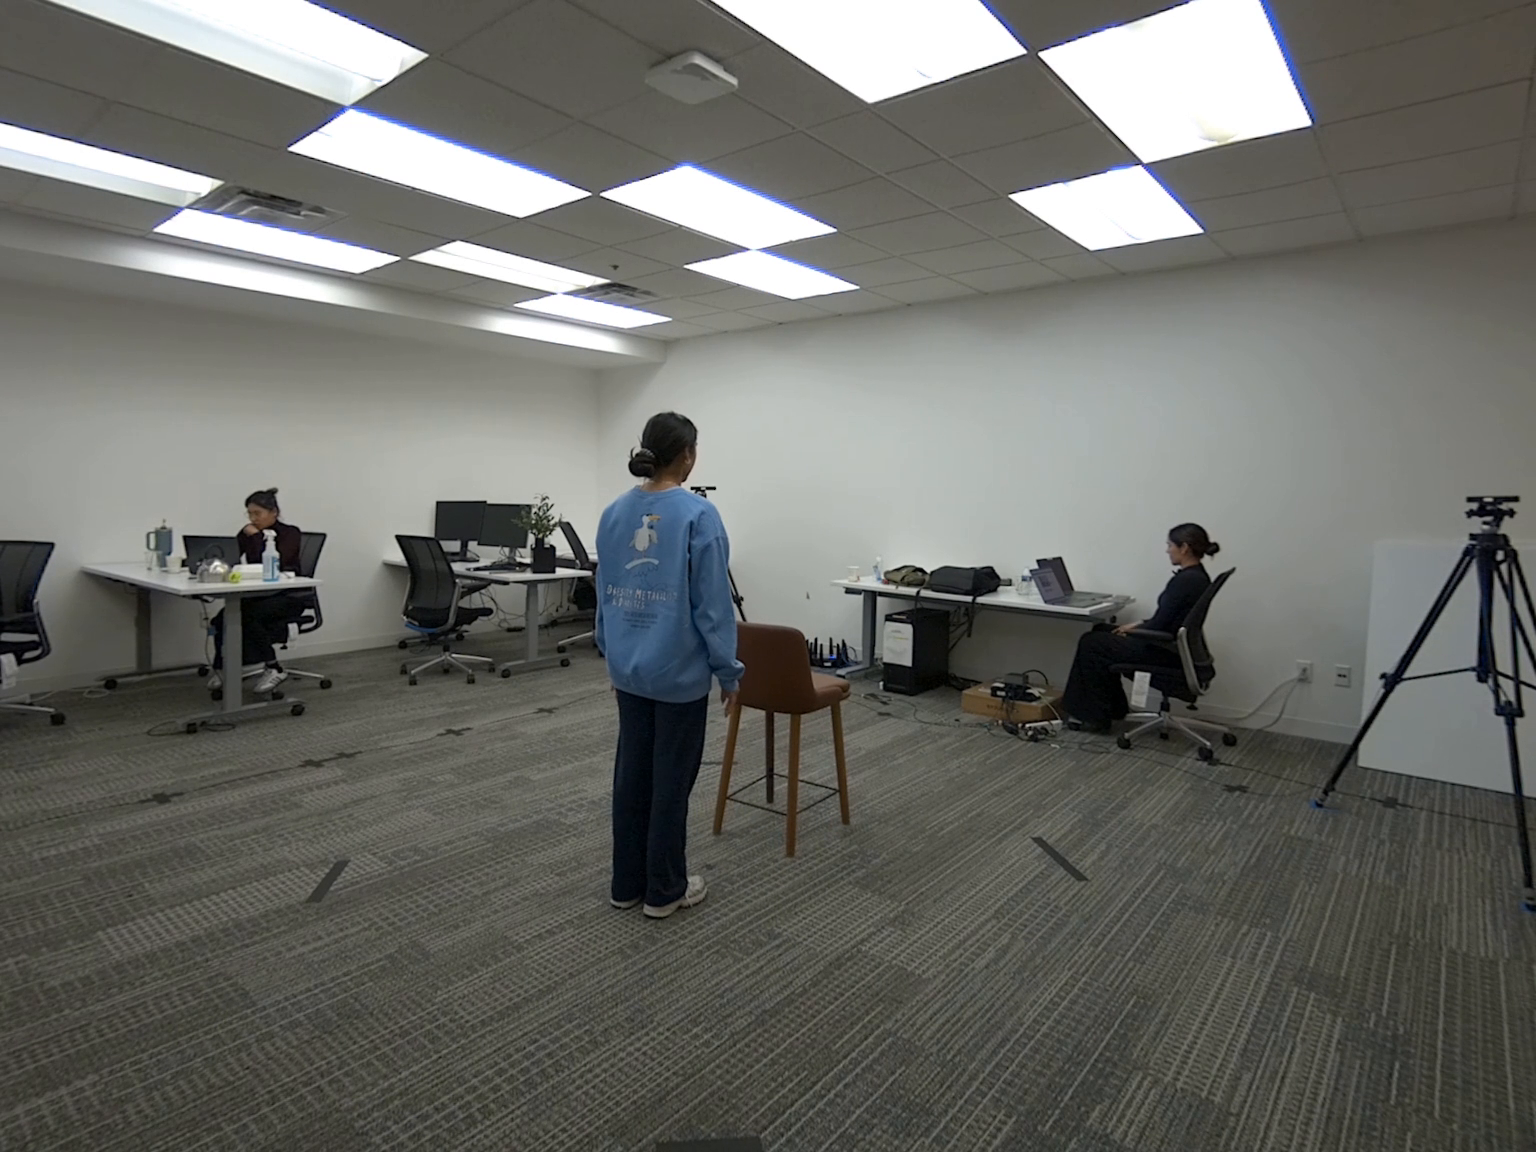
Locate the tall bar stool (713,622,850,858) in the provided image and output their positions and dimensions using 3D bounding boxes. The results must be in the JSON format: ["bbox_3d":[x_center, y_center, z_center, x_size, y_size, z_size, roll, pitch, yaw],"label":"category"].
[{"bbox_3d":[0.047,0.597,3.468,0.471,0.886,0.455,3,6,35],"label":"tall bar stool"}]
